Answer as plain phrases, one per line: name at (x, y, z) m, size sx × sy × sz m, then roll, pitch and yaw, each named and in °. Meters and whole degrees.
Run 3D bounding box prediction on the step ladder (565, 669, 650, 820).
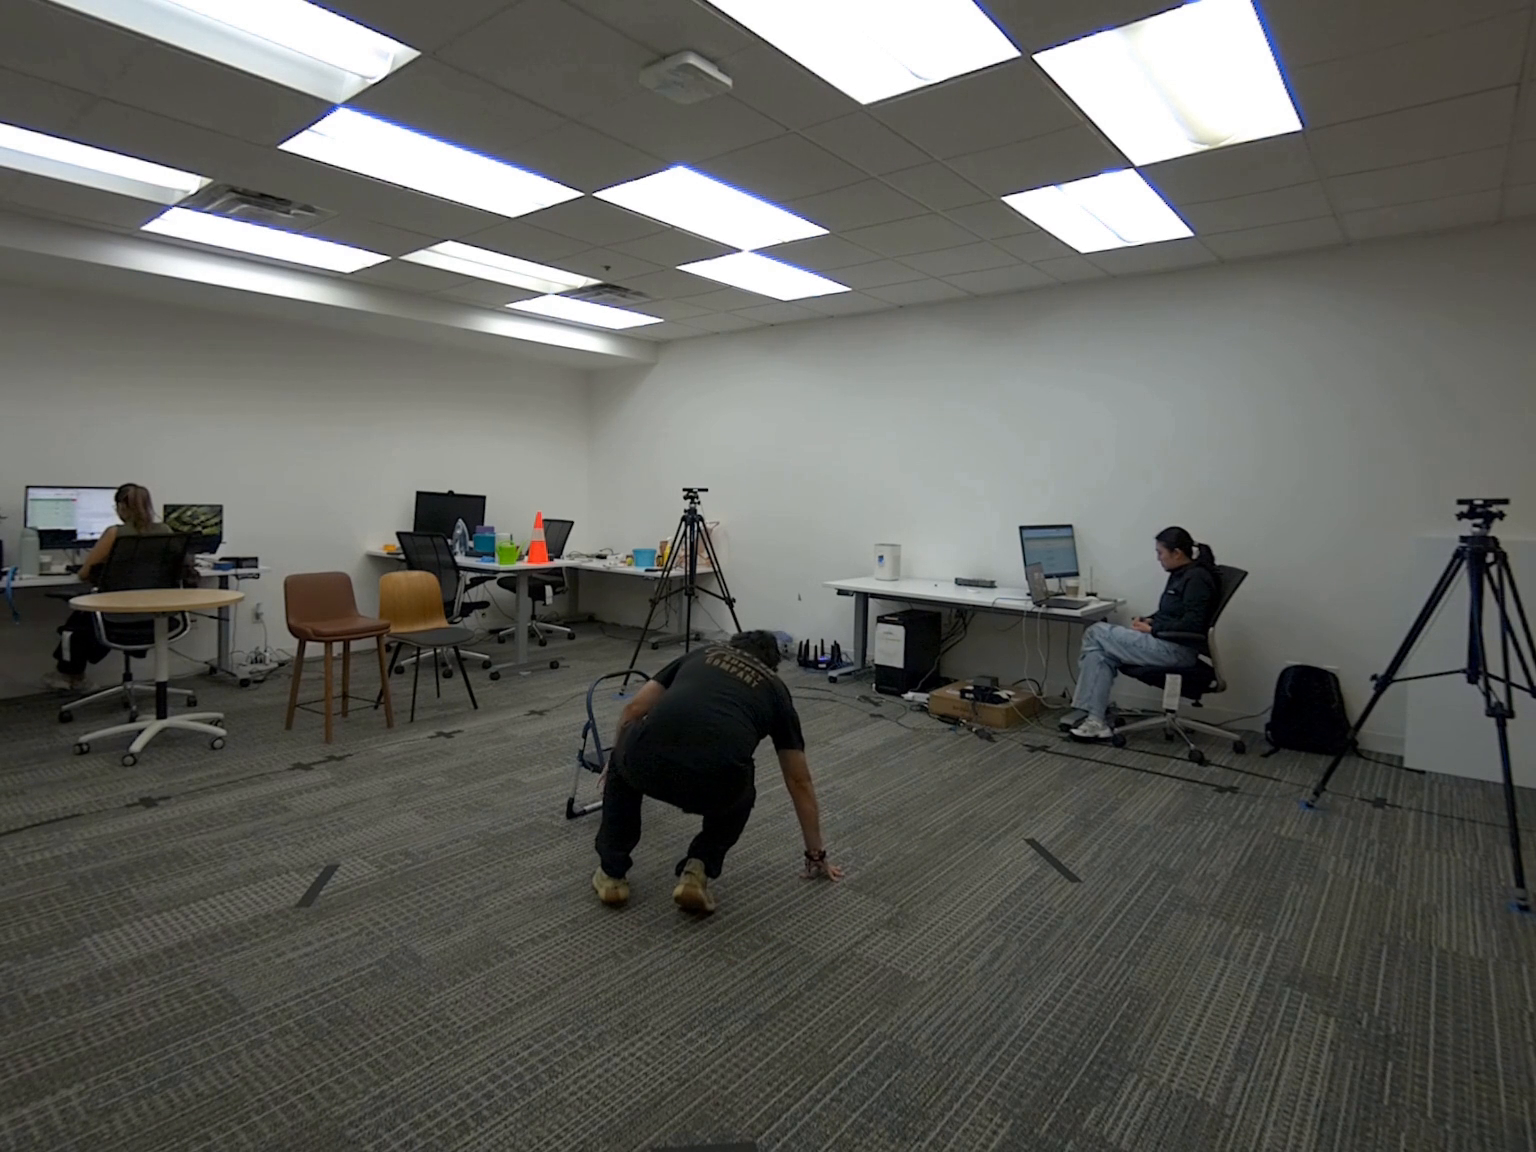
step ladder at (-0.597, 0.713, 3.599) m, size 0.360 × 0.605 × 0.418 m, roll 2°, pitch 3°, yaw 38°
